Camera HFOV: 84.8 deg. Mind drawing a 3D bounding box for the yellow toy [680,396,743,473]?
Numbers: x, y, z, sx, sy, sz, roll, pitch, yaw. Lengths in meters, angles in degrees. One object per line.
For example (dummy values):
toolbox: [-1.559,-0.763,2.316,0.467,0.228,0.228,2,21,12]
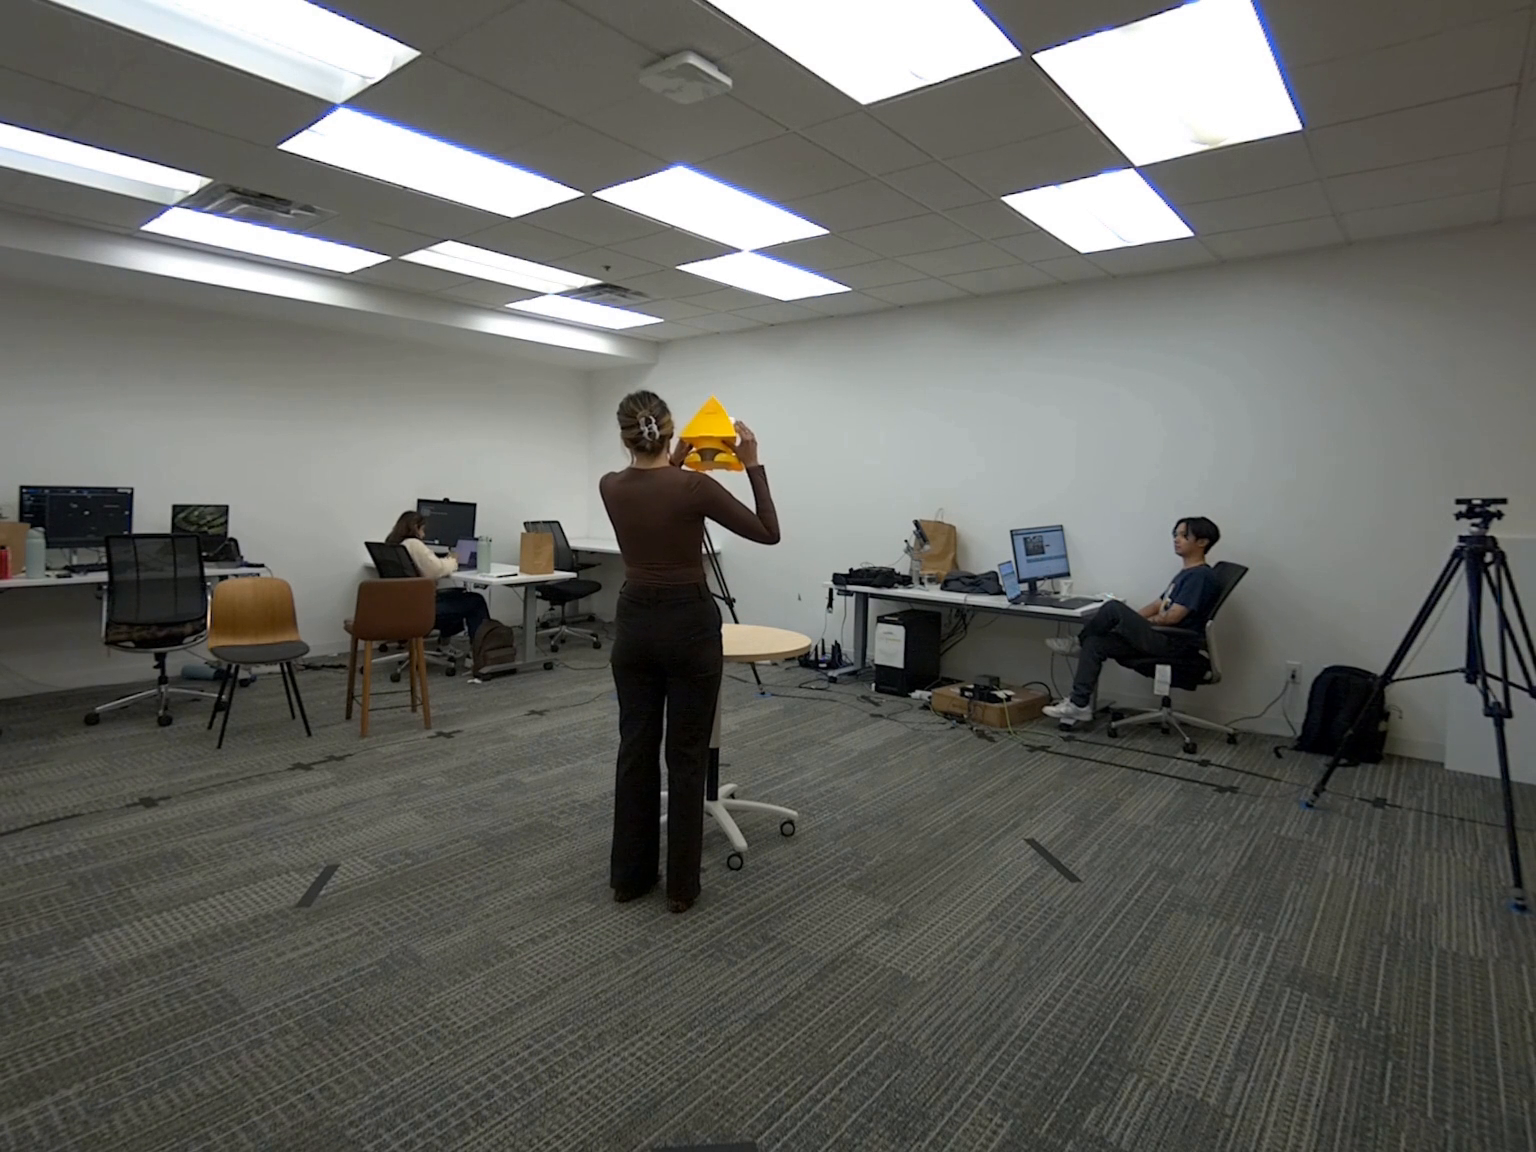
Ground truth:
yellow toy: [-0.189,-0.488,2.900,0.208,0.232,0.188,1,-8,16]
